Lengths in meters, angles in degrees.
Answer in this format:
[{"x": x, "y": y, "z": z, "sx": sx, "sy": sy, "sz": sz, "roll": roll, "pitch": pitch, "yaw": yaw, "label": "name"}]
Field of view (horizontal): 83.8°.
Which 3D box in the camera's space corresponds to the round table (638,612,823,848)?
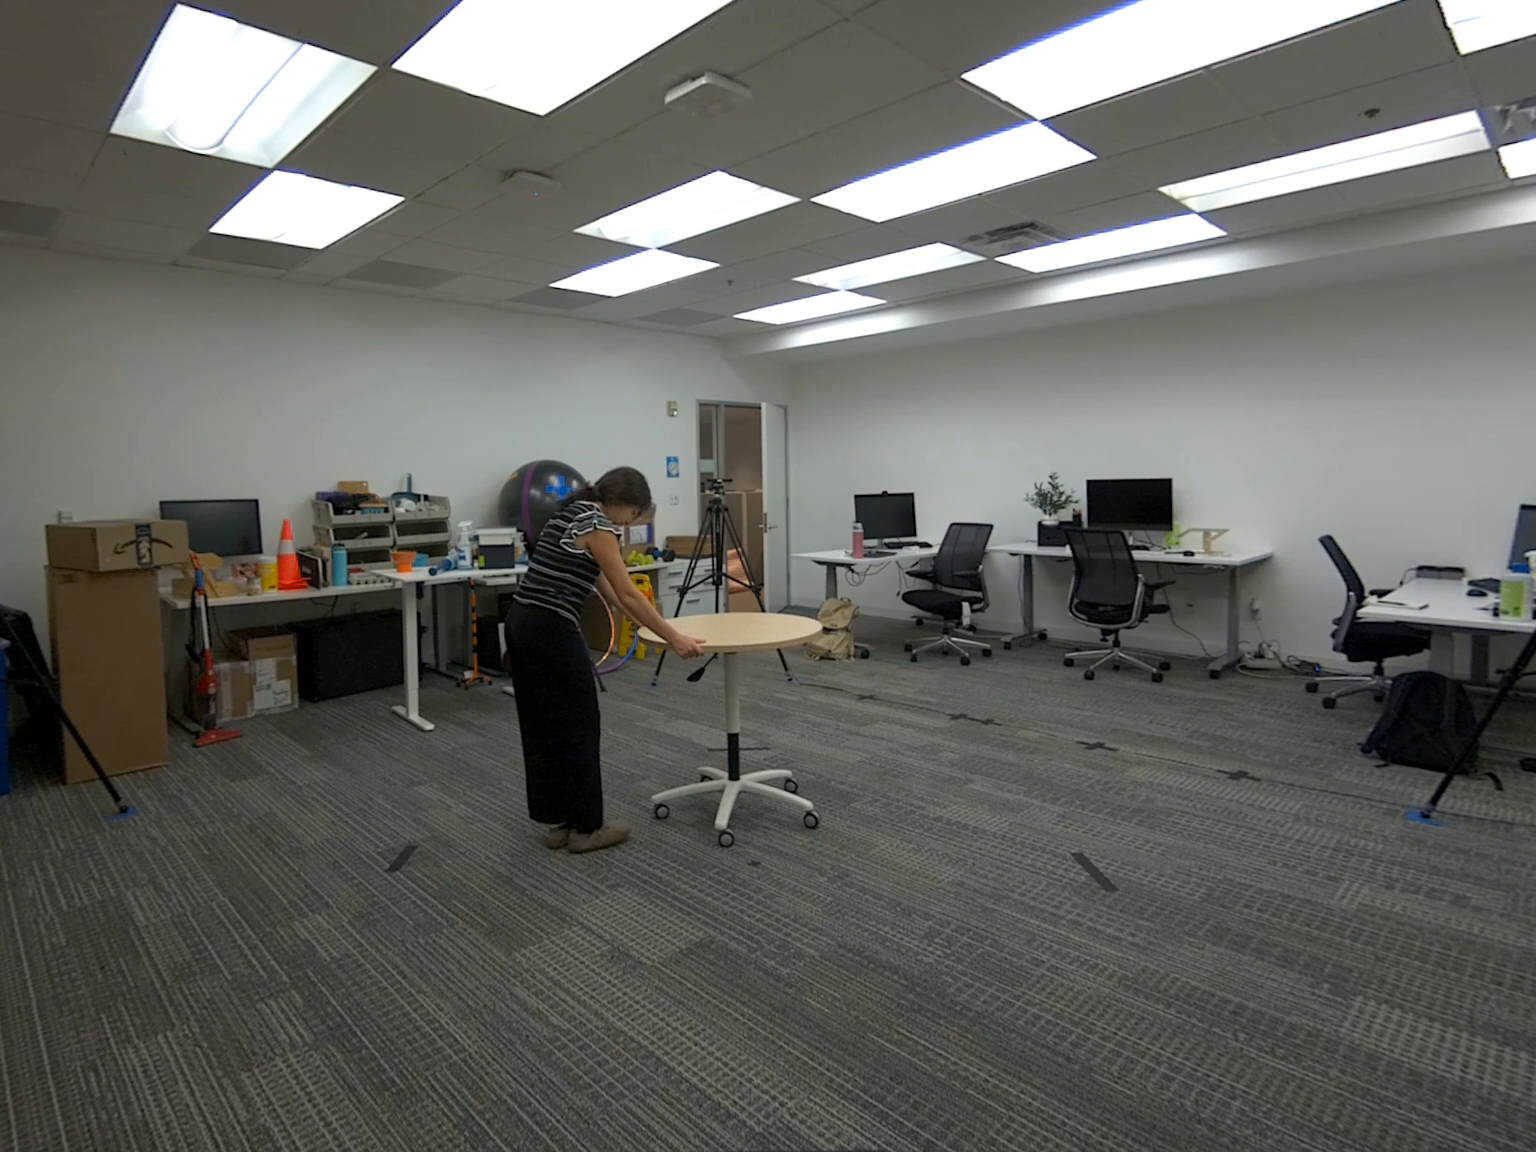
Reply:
[{"x": -0.135, "y": 0.606, "z": 3.567, "sx": 0.763, "sy": 0.791, "sz": 0.768, "roll": -2, "pitch": 5, "yaw": -2, "label": "round table"}]
